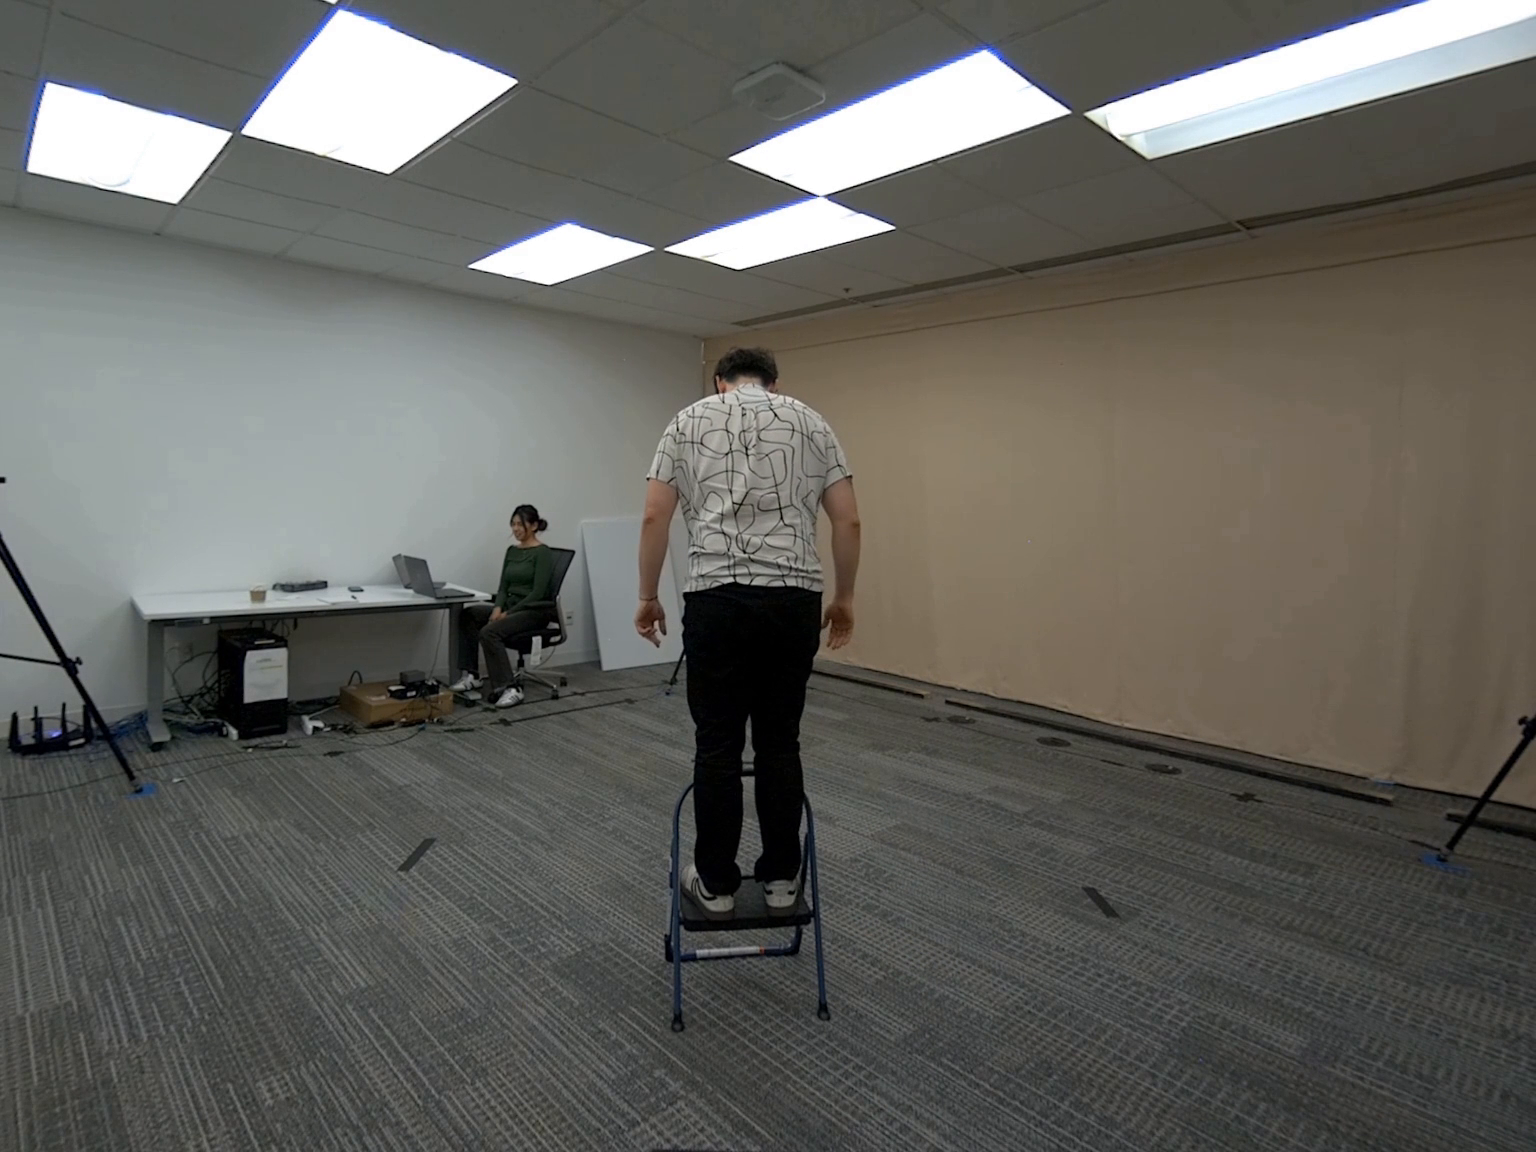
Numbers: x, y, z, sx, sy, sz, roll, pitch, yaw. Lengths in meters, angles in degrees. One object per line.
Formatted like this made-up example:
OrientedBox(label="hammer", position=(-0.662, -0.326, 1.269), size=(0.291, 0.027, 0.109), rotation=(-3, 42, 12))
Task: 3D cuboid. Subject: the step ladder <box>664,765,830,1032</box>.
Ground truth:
OrientedBox(label="step ladder", position=(-0.073, 0.874, 2.376), size=(0.427, 0.604, 0.353), rotation=(0, 4, -10))
